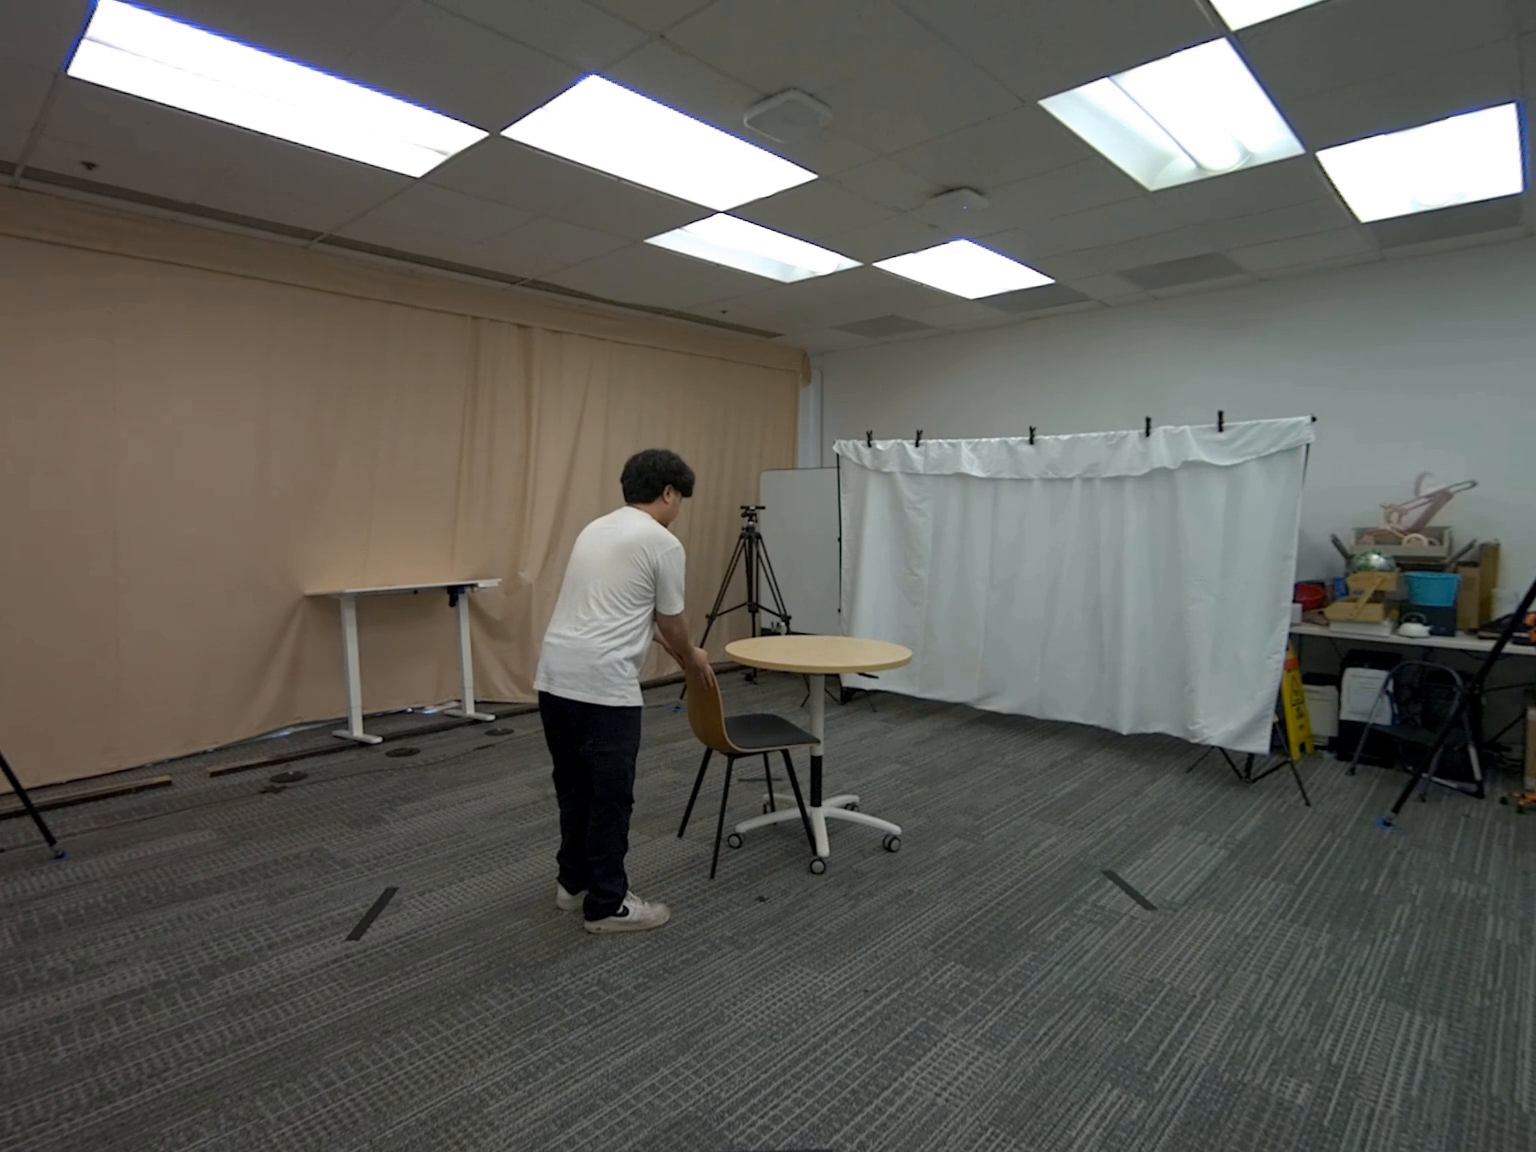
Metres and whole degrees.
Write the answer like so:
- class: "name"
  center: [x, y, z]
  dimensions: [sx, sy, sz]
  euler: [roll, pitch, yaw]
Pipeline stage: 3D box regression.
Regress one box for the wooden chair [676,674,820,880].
- class: "wooden chair"
  center: [-0.084, 0.683, 3.381]
  dimensions: [0.513, 0.875, 0.489]
  euler: [-6, 4, -21]
